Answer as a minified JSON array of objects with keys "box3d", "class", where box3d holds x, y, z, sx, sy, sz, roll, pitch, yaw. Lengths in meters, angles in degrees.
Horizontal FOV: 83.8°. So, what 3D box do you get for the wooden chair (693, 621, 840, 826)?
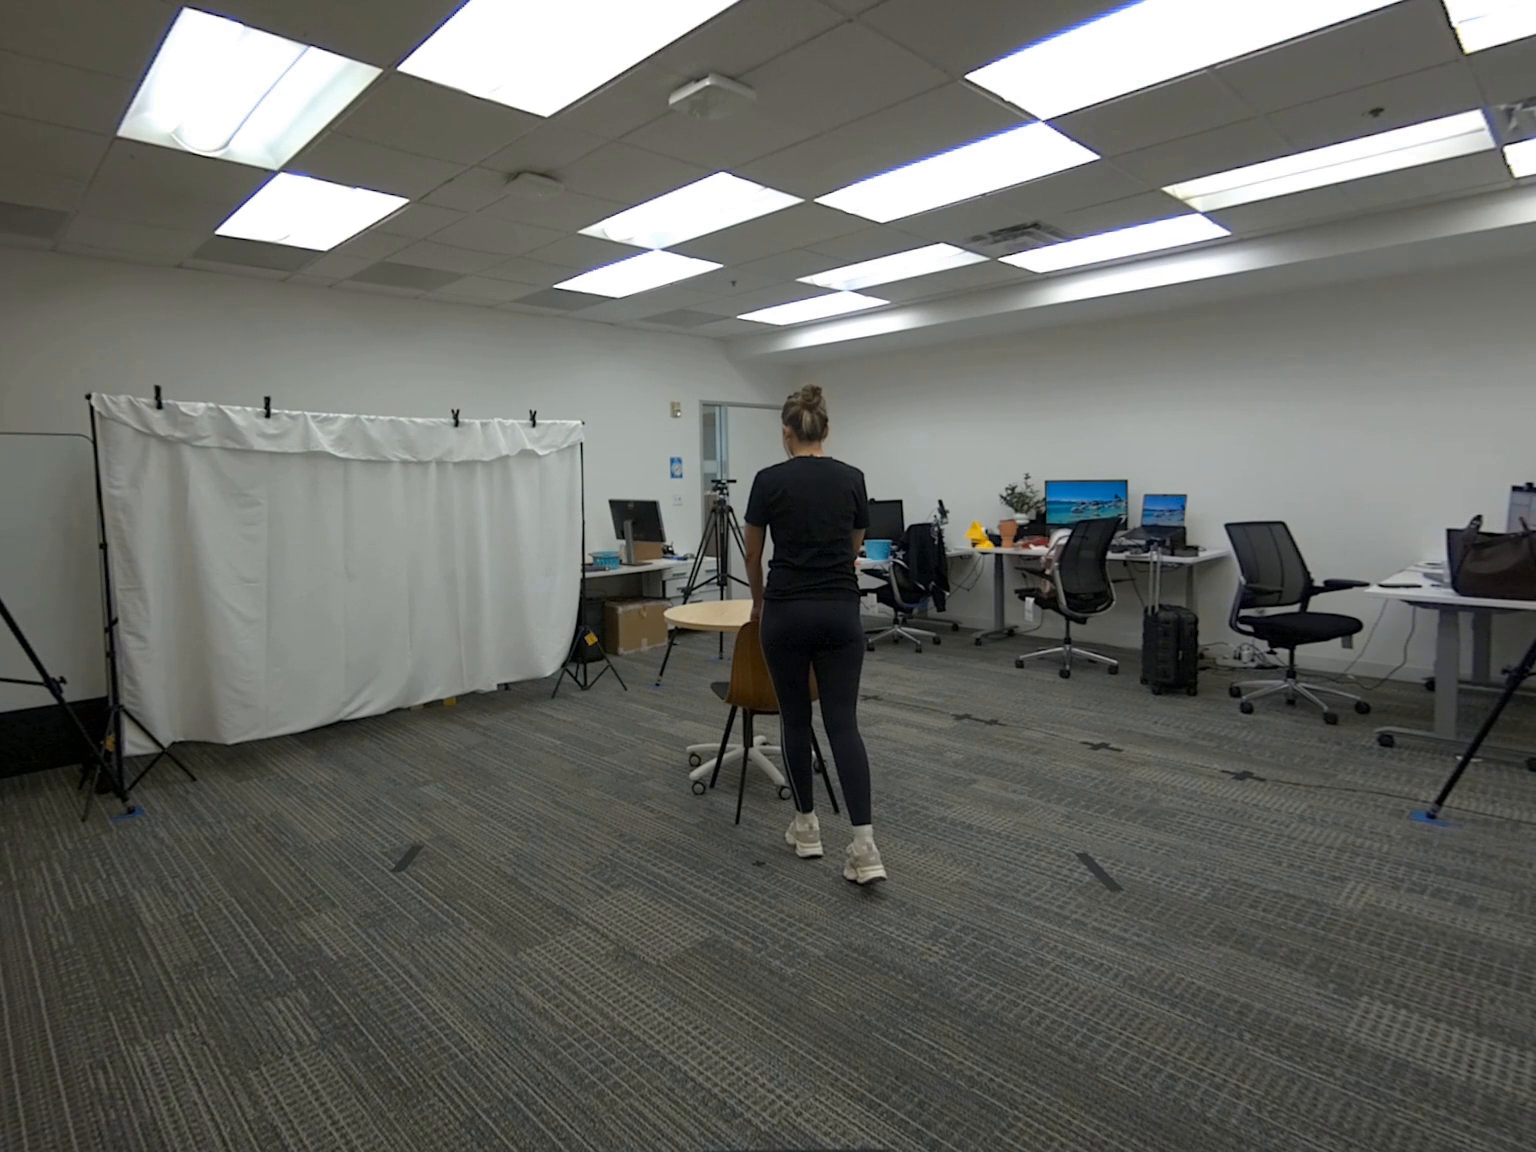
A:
[{"box3d":[0.007,0.552,3.707,0.471,0.872,0.534,-2,8,-16],"class":"wooden chair"}]
